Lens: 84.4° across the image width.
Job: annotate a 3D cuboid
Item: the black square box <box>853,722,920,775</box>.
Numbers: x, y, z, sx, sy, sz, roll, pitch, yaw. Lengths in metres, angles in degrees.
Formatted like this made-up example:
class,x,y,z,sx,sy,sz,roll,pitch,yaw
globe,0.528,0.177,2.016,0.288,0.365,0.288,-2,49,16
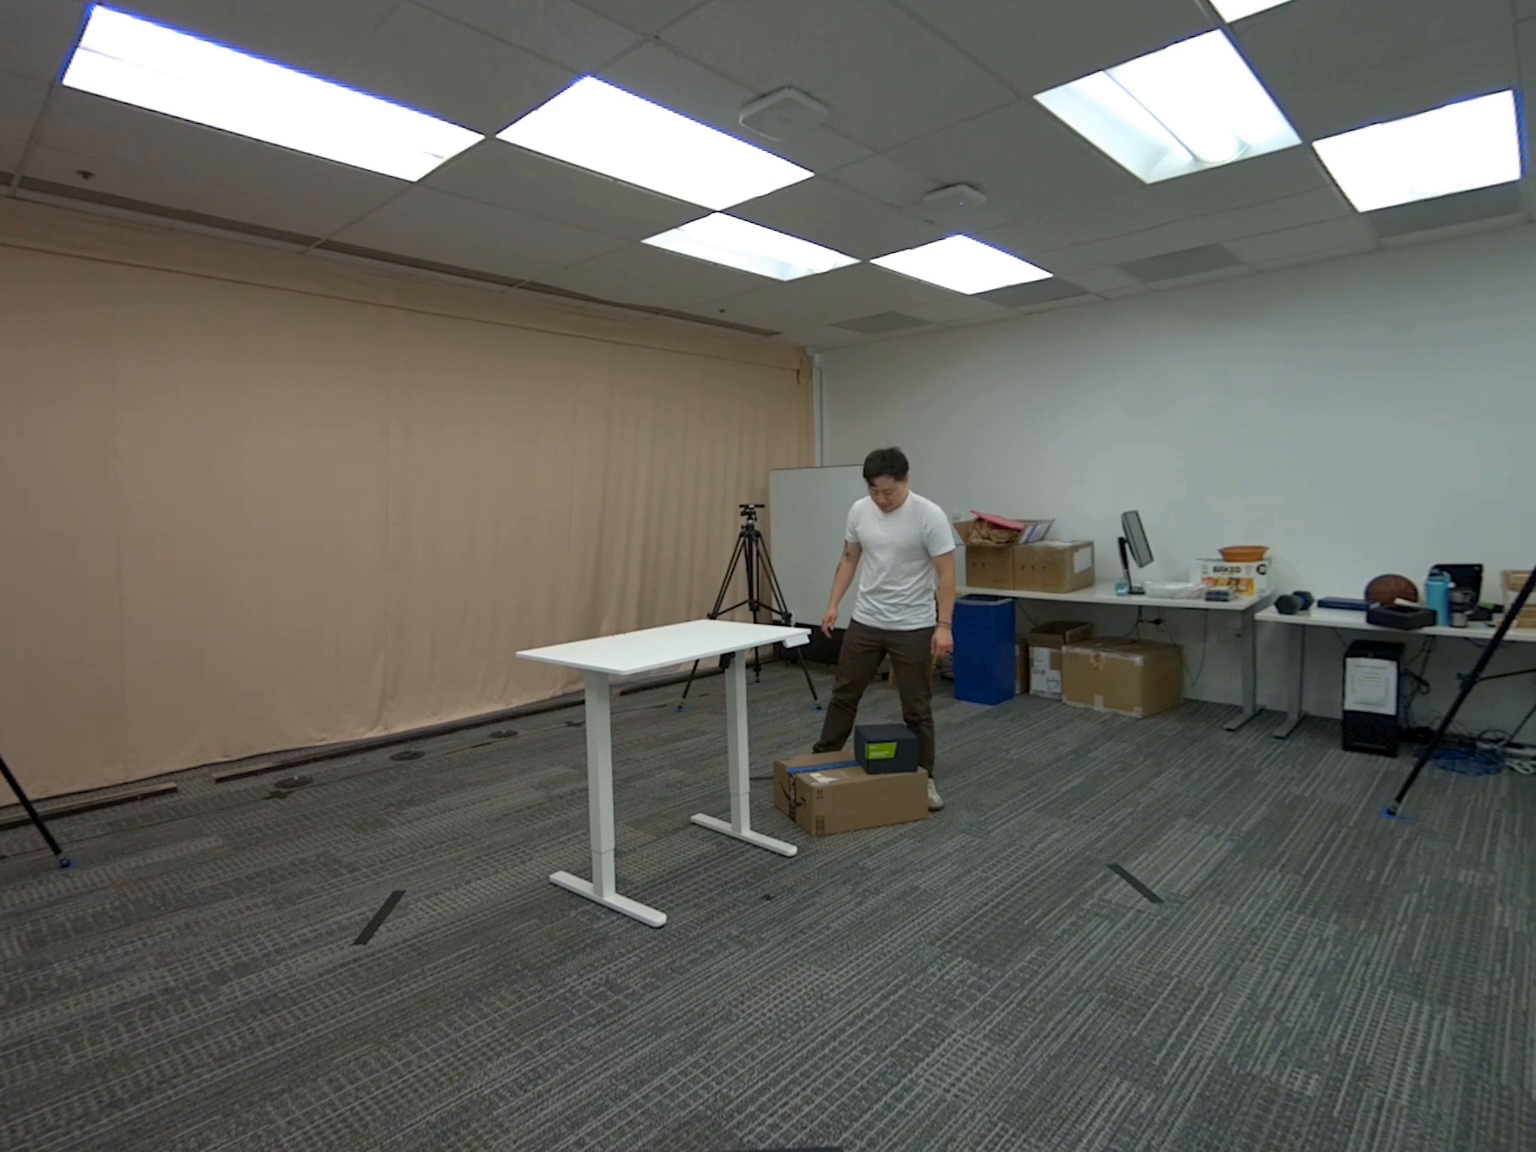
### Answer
class,x,y,z,sx,sy,sz,roll,pitch,yaw
black square box,0.528,0.764,3.749,0.226,0.155,0.219,-2,5,-7
